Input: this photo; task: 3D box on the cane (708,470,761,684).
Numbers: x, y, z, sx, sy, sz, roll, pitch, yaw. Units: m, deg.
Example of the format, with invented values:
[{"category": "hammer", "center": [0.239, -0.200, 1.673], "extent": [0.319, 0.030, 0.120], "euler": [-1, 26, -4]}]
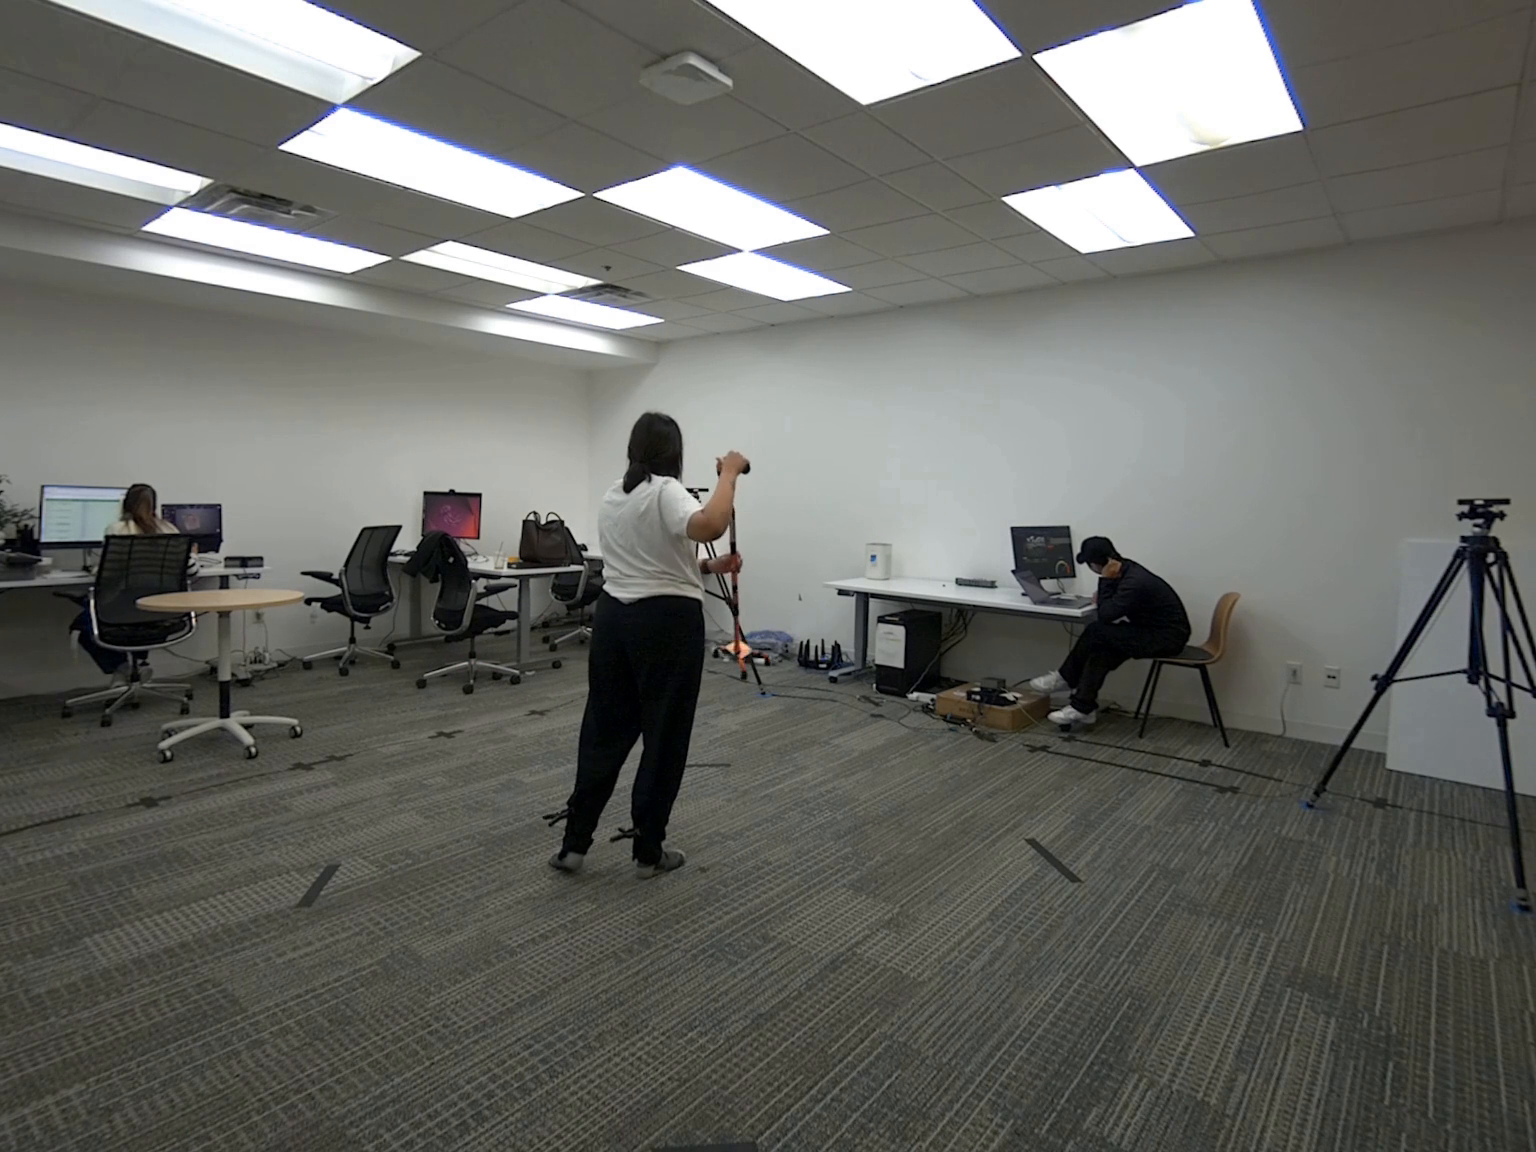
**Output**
[{"category": "cane", "center": [-0.140, -0.029, 3.186], "extent": [0.149, 0.885, 0.215], "euler": [-22, 37, -33]}]
